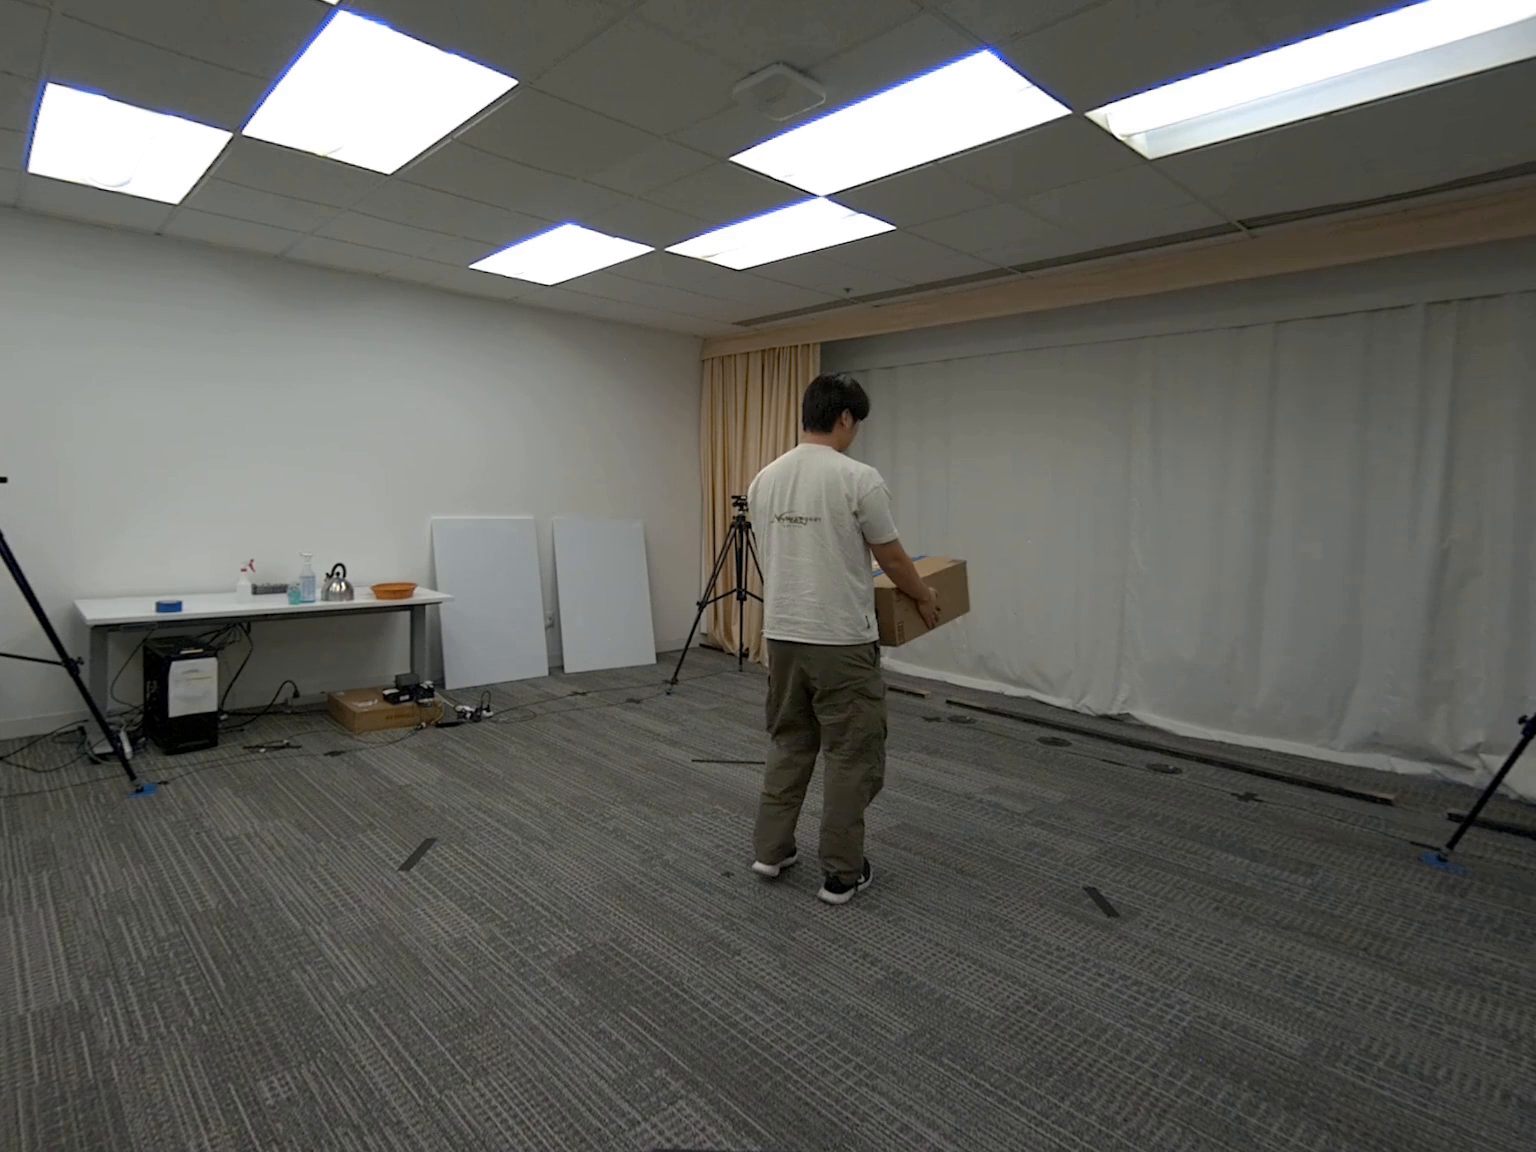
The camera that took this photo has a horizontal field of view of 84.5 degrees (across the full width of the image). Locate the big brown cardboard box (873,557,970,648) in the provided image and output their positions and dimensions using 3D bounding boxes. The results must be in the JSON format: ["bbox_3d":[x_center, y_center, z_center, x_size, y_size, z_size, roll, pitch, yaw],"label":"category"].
[{"bbox_3d":[0.459,0.089,3.309,0.427,0.231,0.579,1,13,40],"label":"big brown cardboard box"}]
